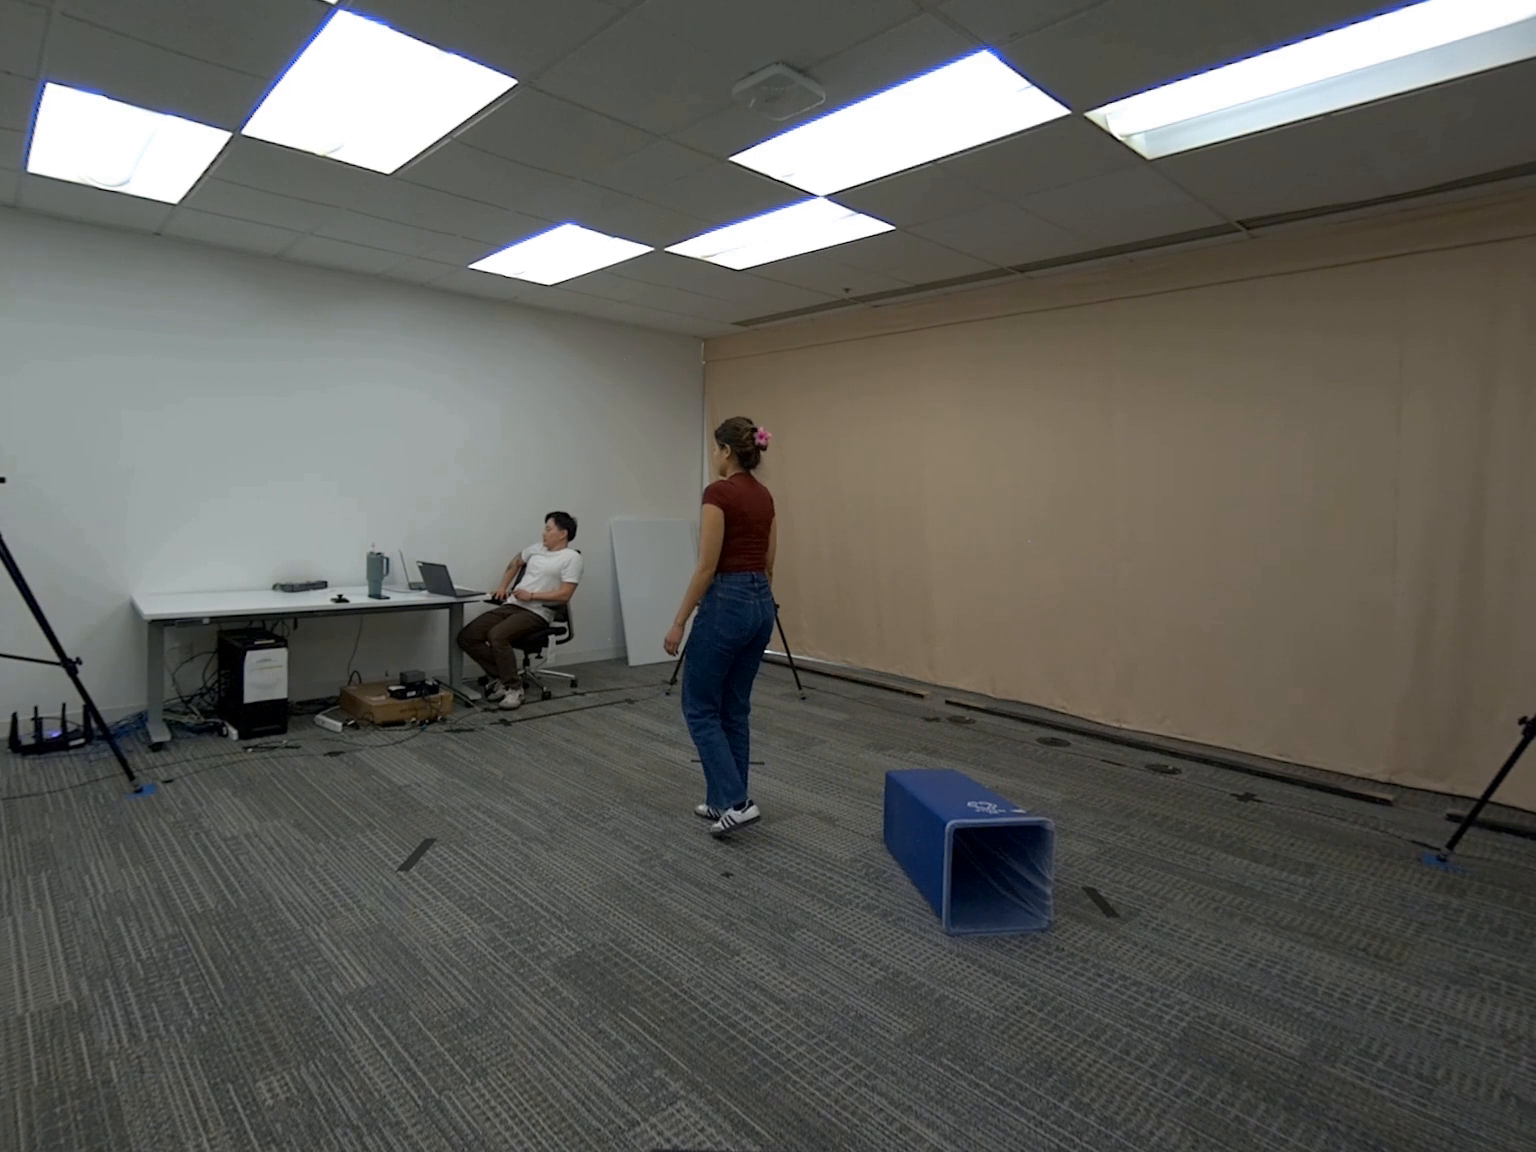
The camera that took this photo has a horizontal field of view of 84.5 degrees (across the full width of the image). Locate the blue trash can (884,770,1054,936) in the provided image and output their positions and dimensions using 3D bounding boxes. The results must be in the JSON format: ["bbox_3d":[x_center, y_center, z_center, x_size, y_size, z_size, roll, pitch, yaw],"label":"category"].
[{"bbox_3d":[0.671,0.957,3.065,0.371,0.377,0.720,1,2,-11],"label":"blue trash can"}]
